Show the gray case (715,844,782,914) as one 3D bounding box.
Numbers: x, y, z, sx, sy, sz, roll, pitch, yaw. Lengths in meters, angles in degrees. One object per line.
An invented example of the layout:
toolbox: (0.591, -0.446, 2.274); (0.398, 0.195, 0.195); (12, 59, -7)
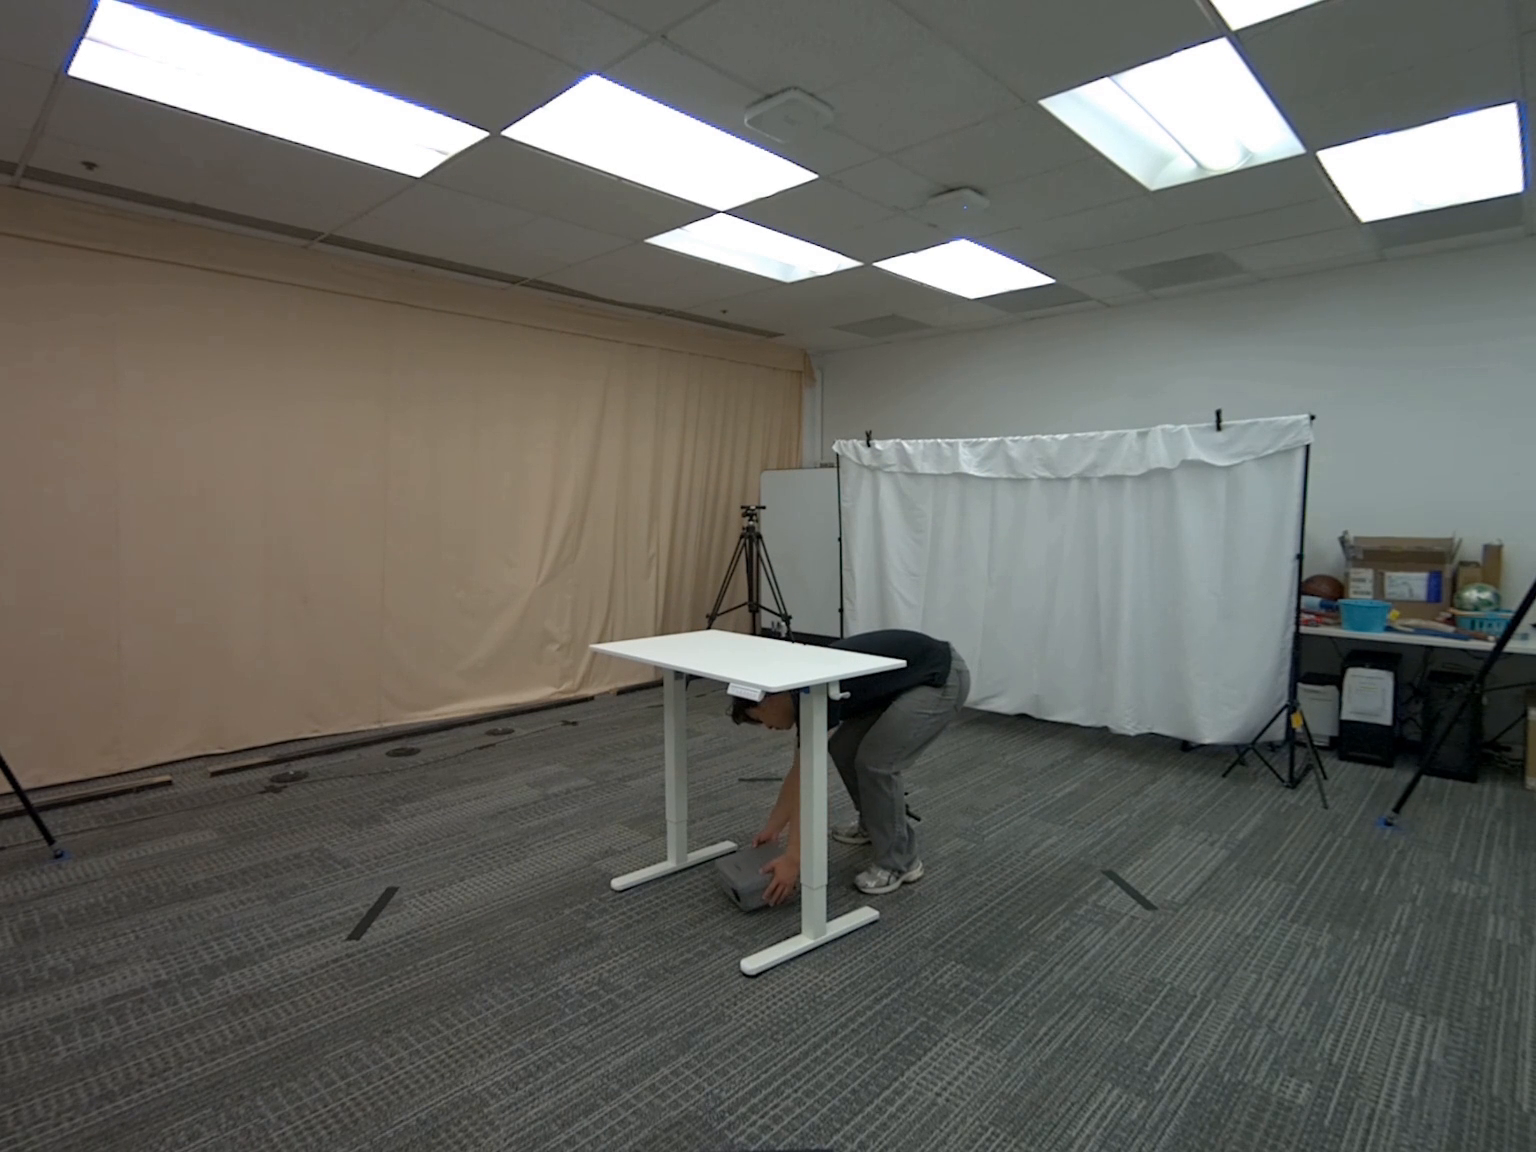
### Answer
gray case: (-0.040, 1.062, 2.980); (0.282, 0.102, 0.270); (-13, 9, -22)
